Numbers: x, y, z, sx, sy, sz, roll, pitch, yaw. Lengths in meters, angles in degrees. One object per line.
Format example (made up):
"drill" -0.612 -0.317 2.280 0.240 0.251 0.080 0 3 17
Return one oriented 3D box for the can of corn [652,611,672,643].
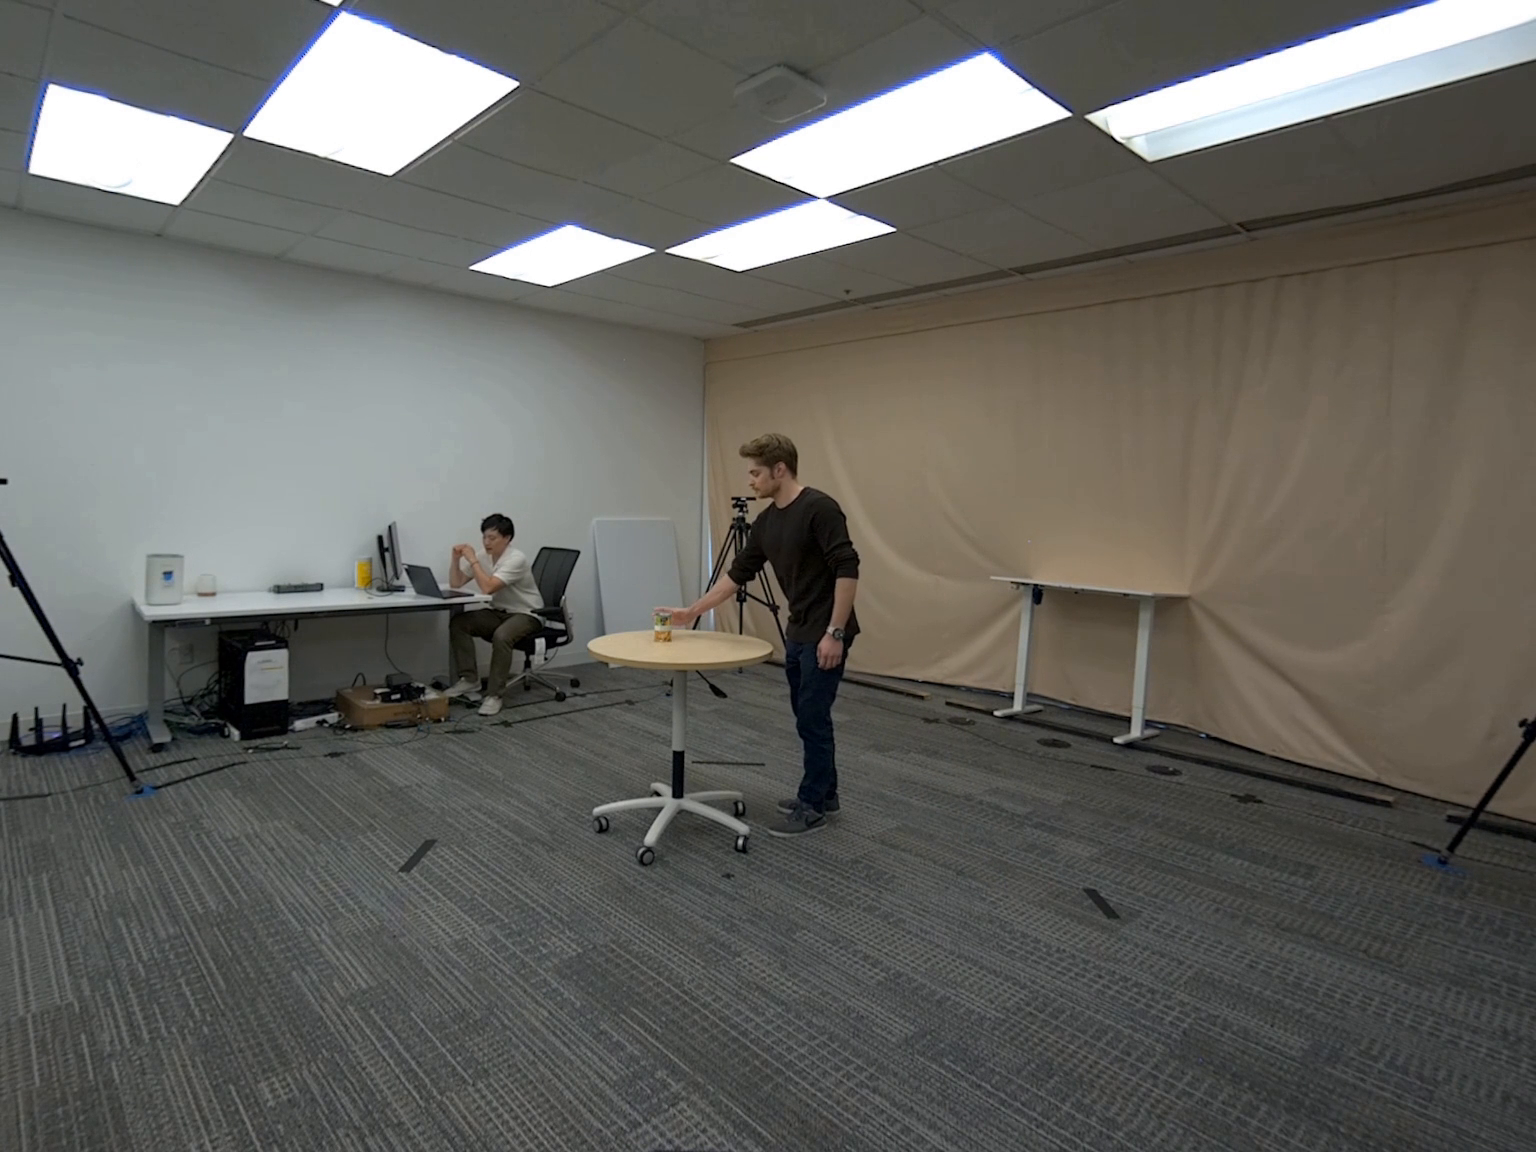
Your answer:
"can of corn" -0.455 0.218 3.583 0.074 0.111 0.074 1 -1 -1
